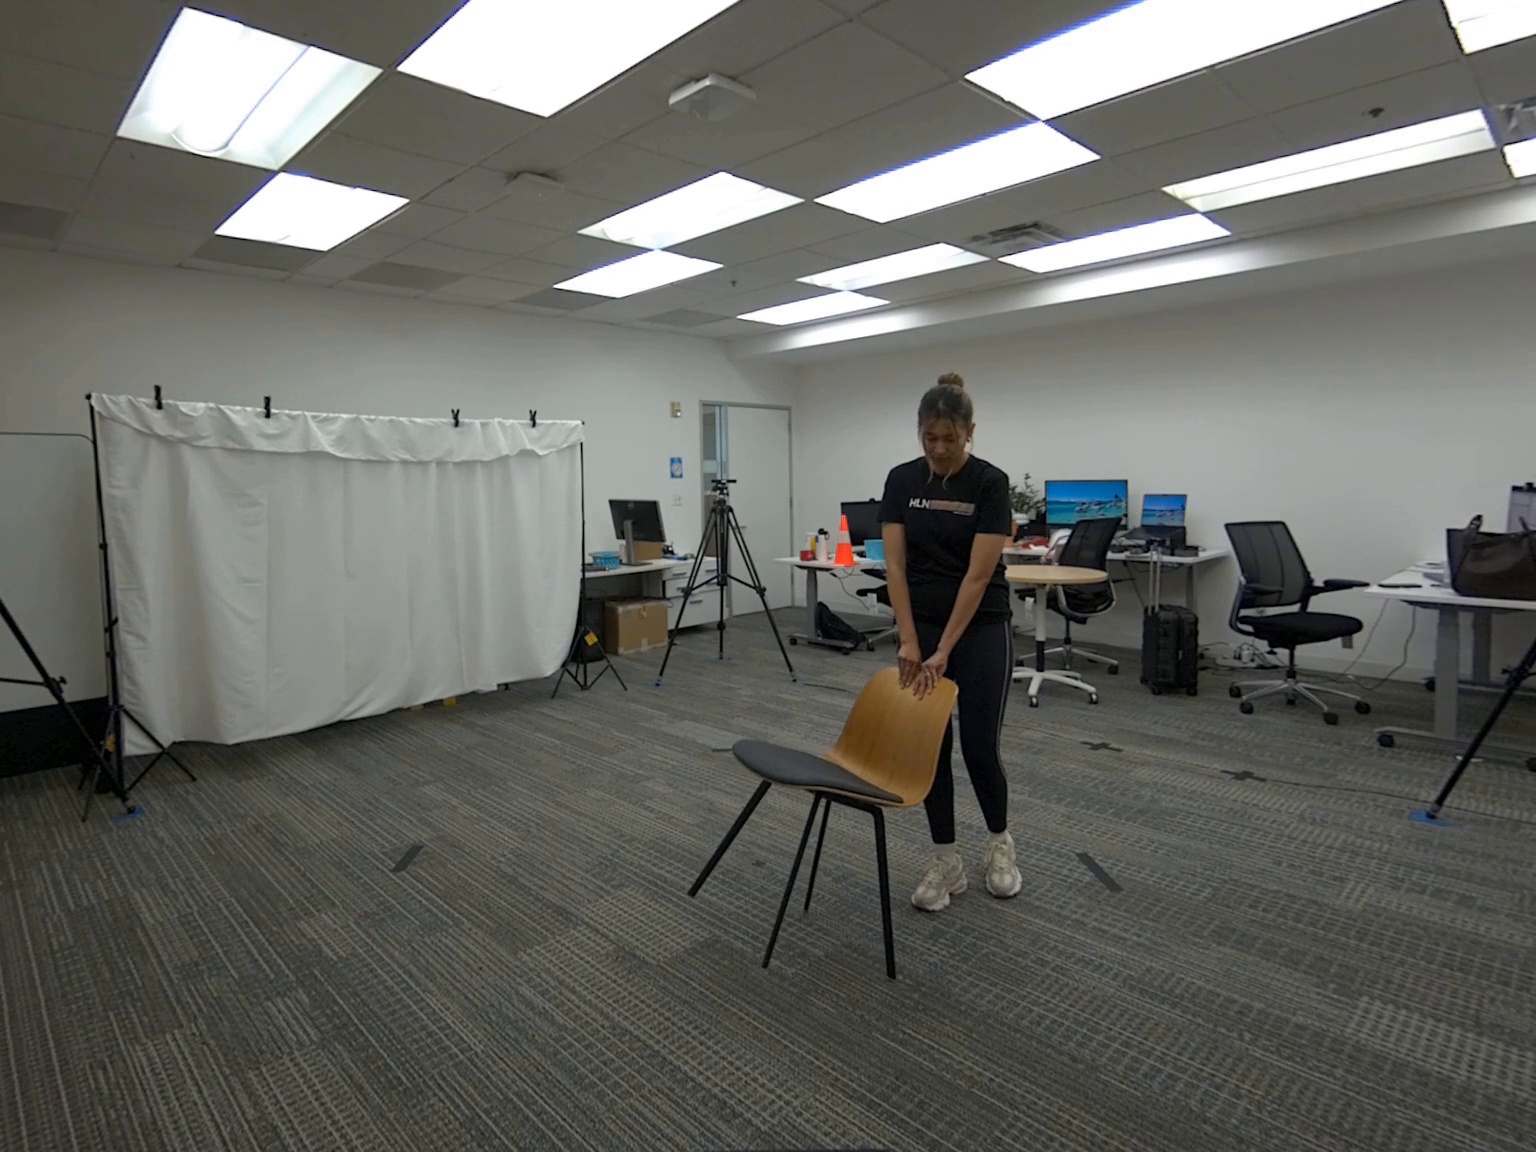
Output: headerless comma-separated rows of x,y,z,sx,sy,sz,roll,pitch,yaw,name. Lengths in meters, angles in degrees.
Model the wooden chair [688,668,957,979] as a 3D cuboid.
0.174,0.625,2.510,0.507,0.881,0.491,24,-8,-29,wooden chair
